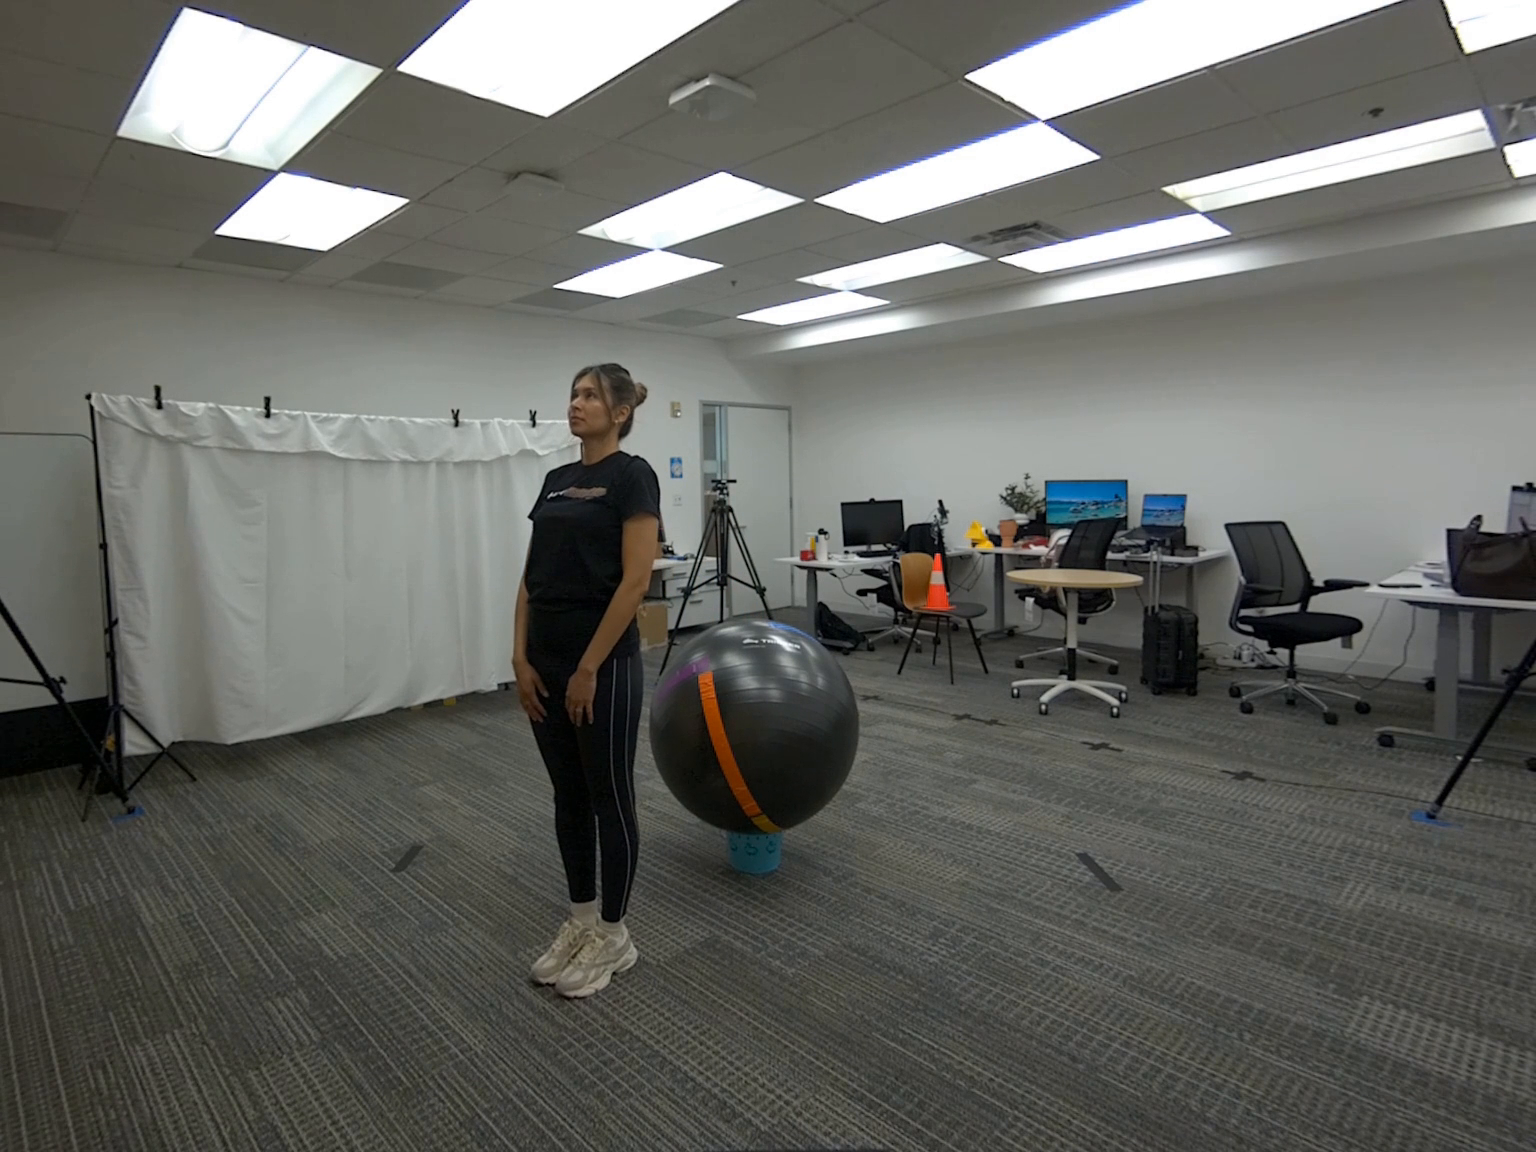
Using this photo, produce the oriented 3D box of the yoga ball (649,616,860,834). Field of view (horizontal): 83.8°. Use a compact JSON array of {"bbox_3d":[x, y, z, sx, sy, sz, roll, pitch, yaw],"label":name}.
[{"bbox_3d":[-0.050,0.536,3.096,0.757,0.755,0.762,-1,5,-2],"label":"yoga ball"}]
